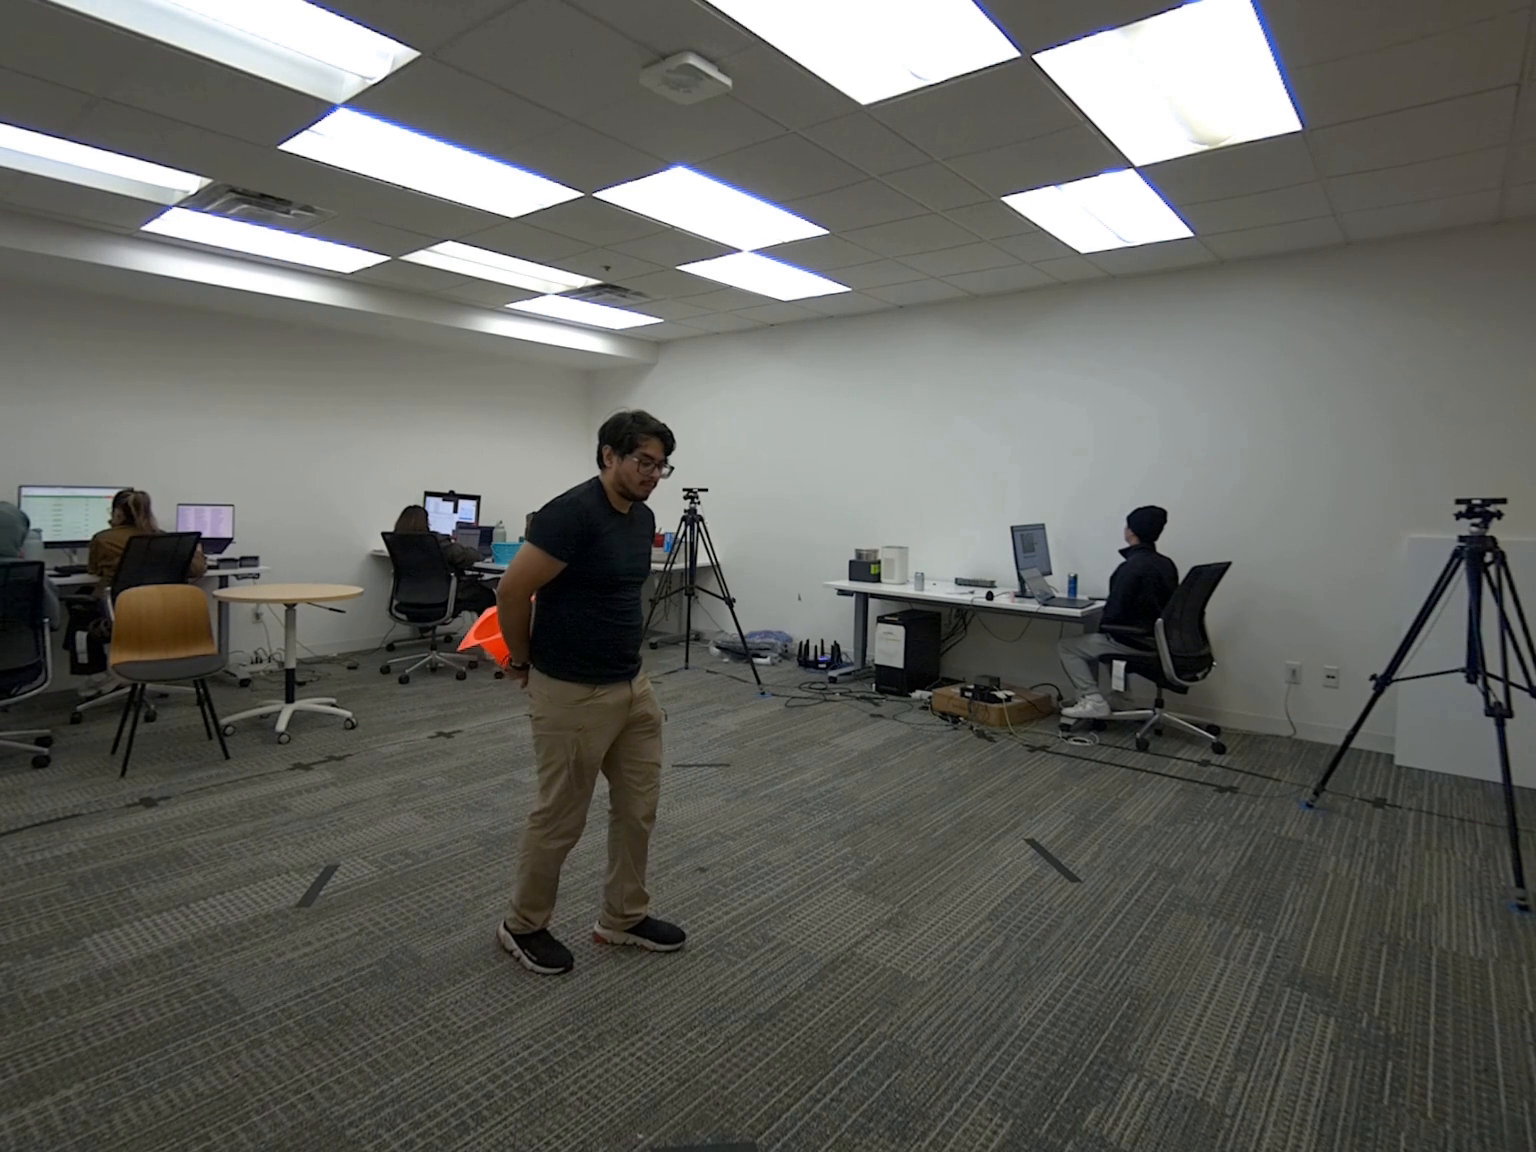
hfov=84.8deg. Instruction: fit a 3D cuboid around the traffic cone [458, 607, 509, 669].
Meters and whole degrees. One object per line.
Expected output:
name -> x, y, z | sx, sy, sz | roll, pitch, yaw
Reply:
traffic cone -> -0.747, 0.289, 2.577 | 0.208, 0.372, 0.206 | -16, 27, 24
